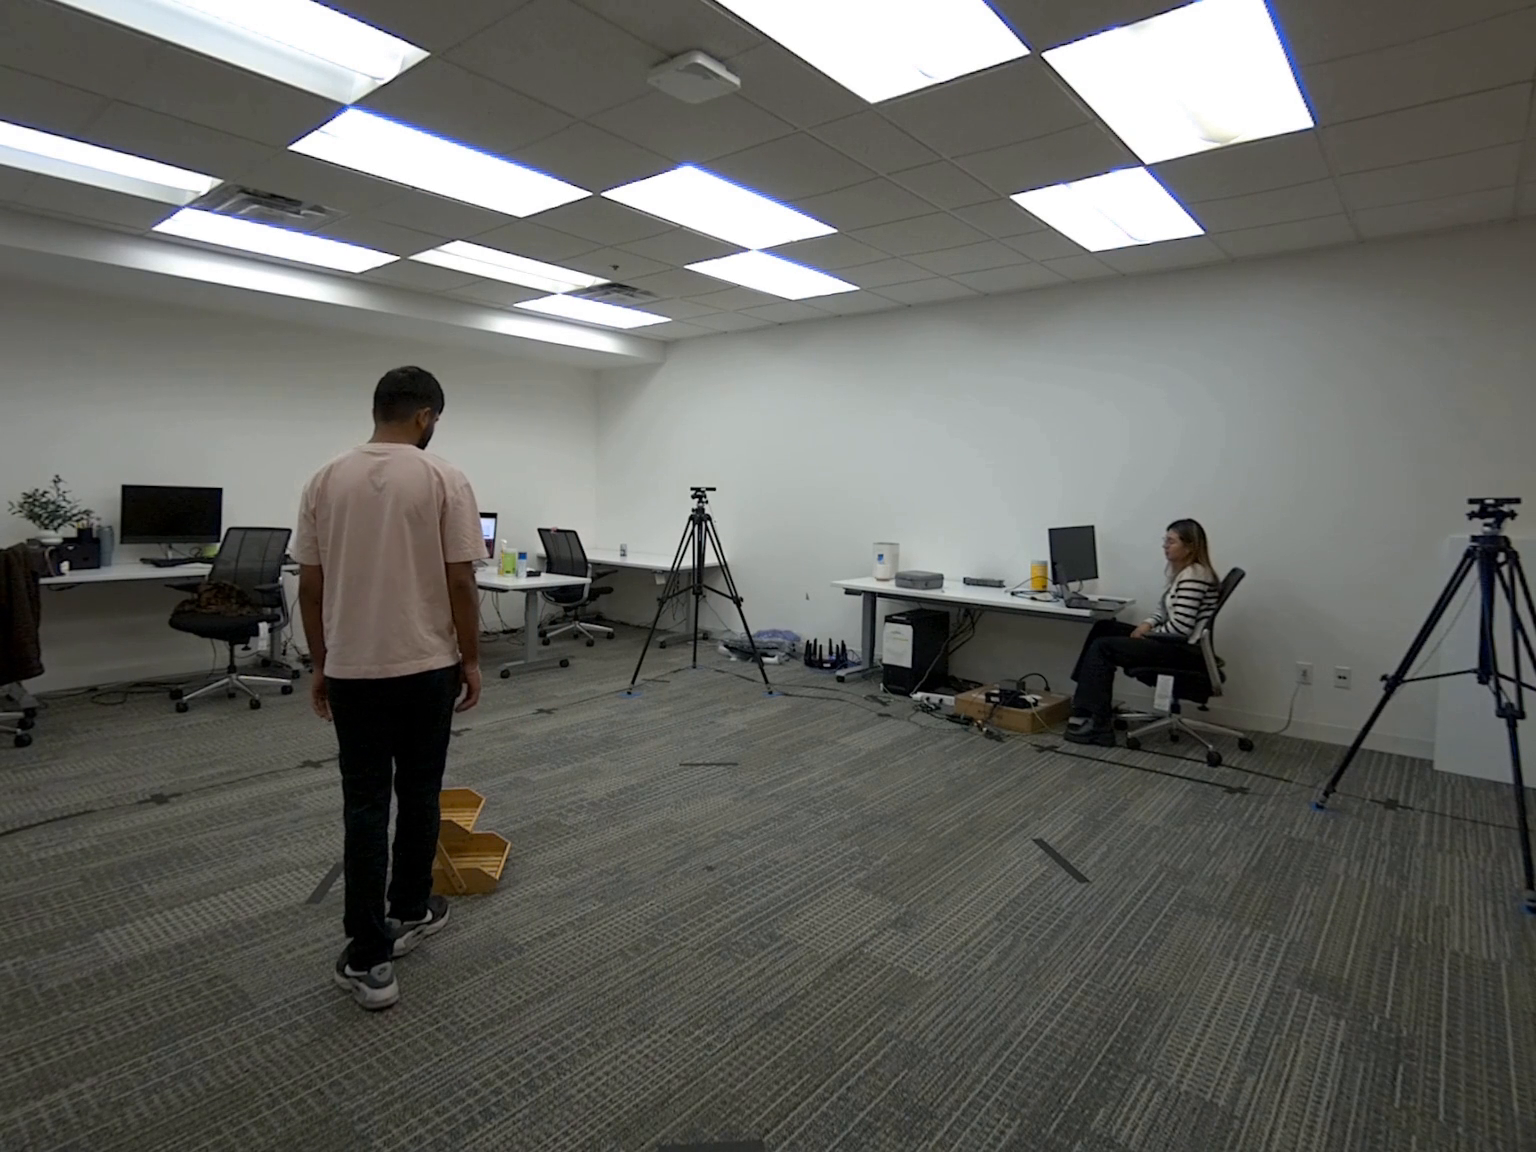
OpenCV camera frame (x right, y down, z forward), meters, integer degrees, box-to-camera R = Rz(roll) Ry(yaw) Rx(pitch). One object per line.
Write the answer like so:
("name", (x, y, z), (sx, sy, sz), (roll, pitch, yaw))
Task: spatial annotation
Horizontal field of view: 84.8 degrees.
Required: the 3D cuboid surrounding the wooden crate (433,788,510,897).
("wooden crate", (-1.091, 0.924, 3.016), (0.300, 0.272, 0.328), (-1, 4, -8))
